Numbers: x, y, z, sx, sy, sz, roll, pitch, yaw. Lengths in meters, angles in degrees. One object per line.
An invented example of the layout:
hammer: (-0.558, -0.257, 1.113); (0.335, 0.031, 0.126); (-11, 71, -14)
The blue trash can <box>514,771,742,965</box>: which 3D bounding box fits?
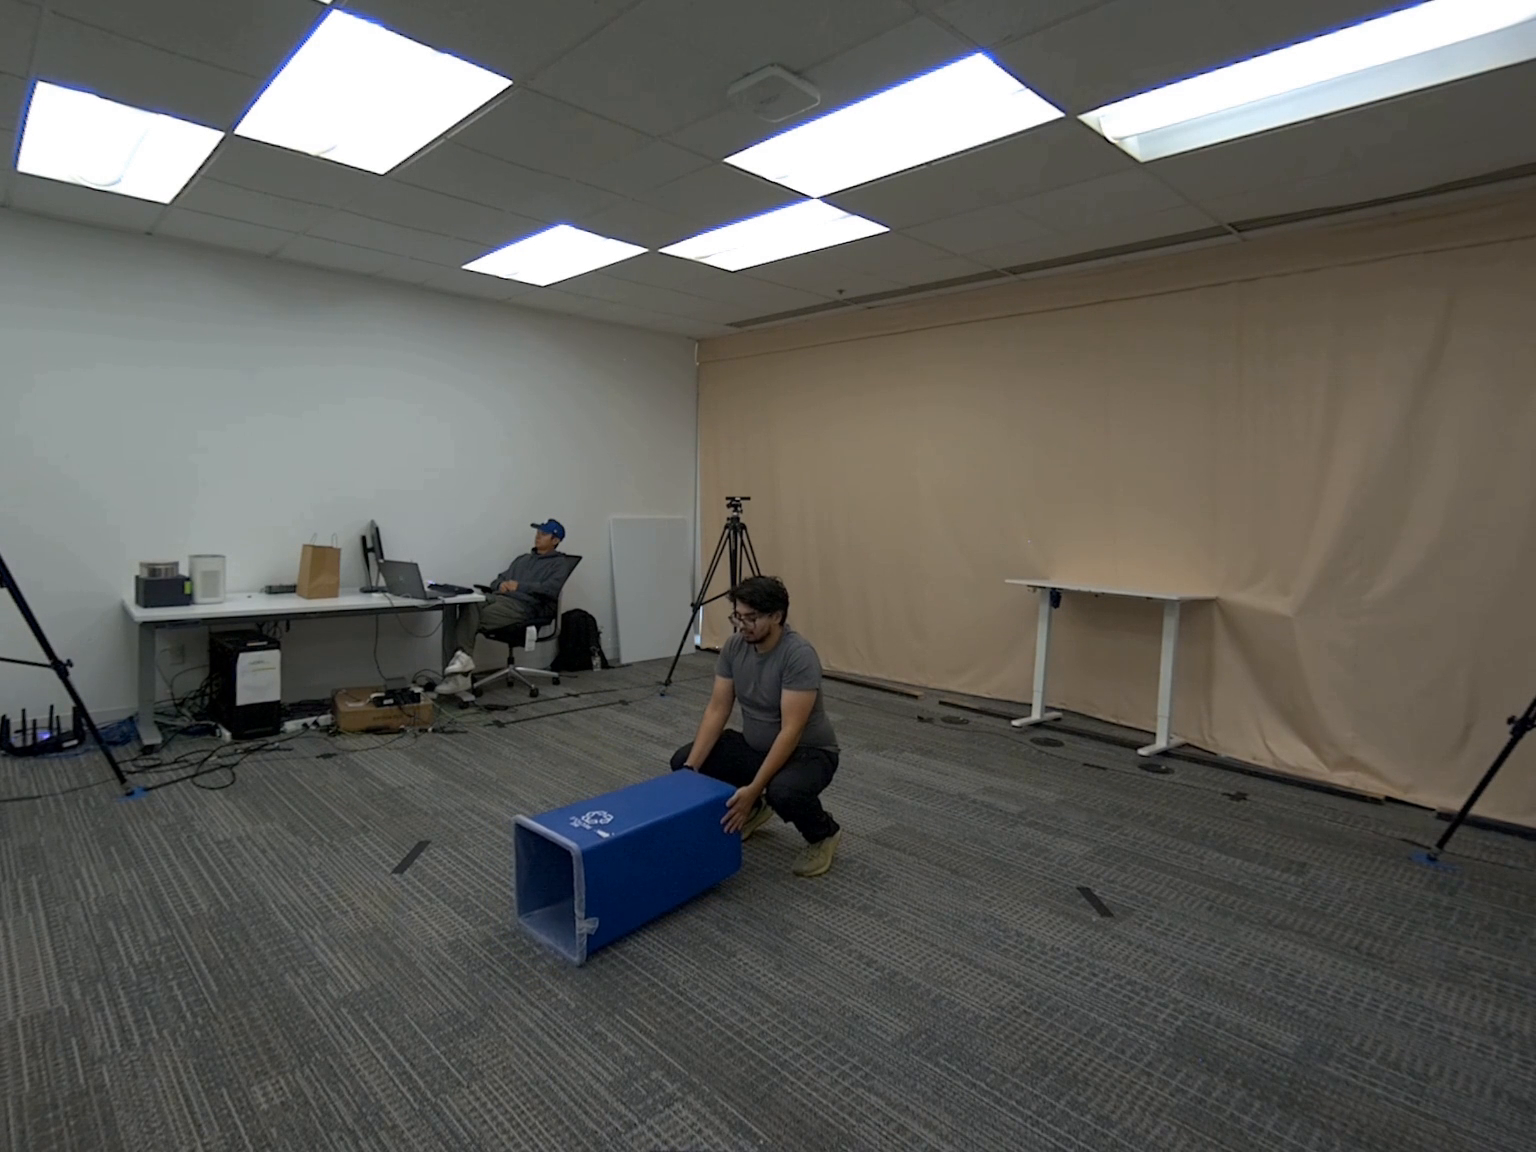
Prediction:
blue trash can: (-0.455, 0.930, 2.825); (0.383, 0.377, 0.698); (4, 7, 43)
